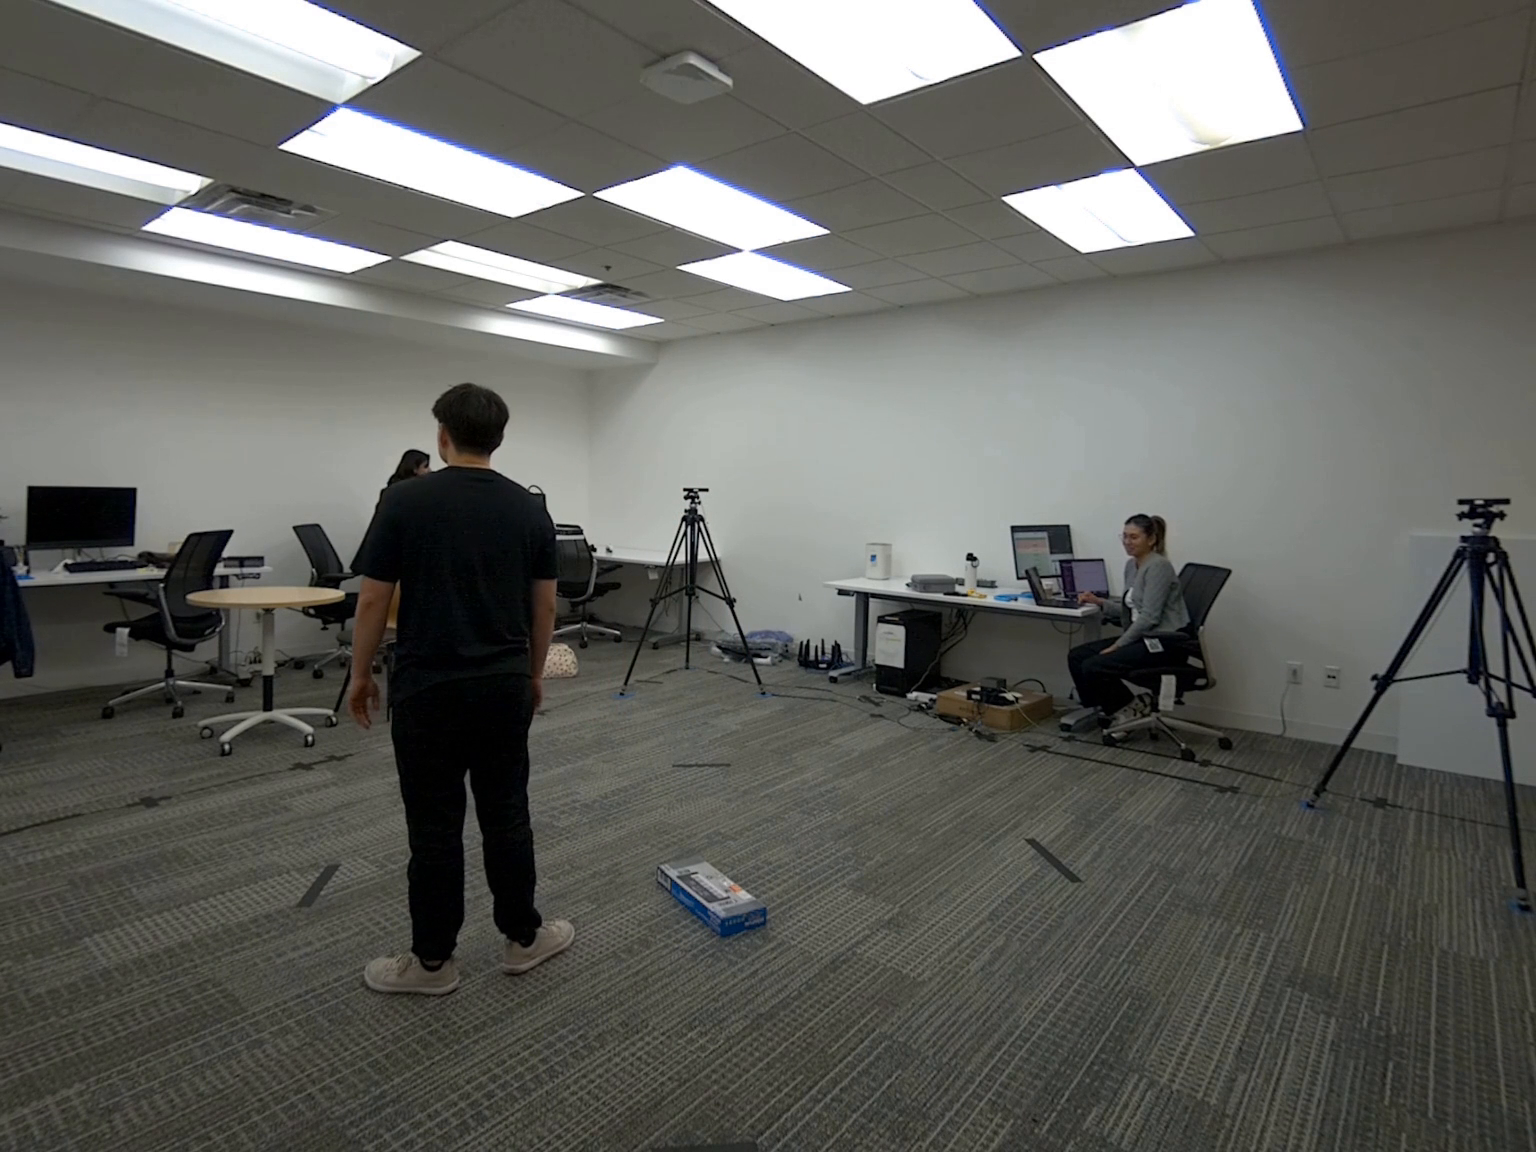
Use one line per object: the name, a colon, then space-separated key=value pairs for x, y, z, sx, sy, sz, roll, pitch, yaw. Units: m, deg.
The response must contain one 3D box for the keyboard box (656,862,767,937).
keyboard box: x=-0.203 y=1.062 z=2.857 sx=0.171 sy=0.059 sz=0.451 roll=-1 pitch=6 yaw=-33
